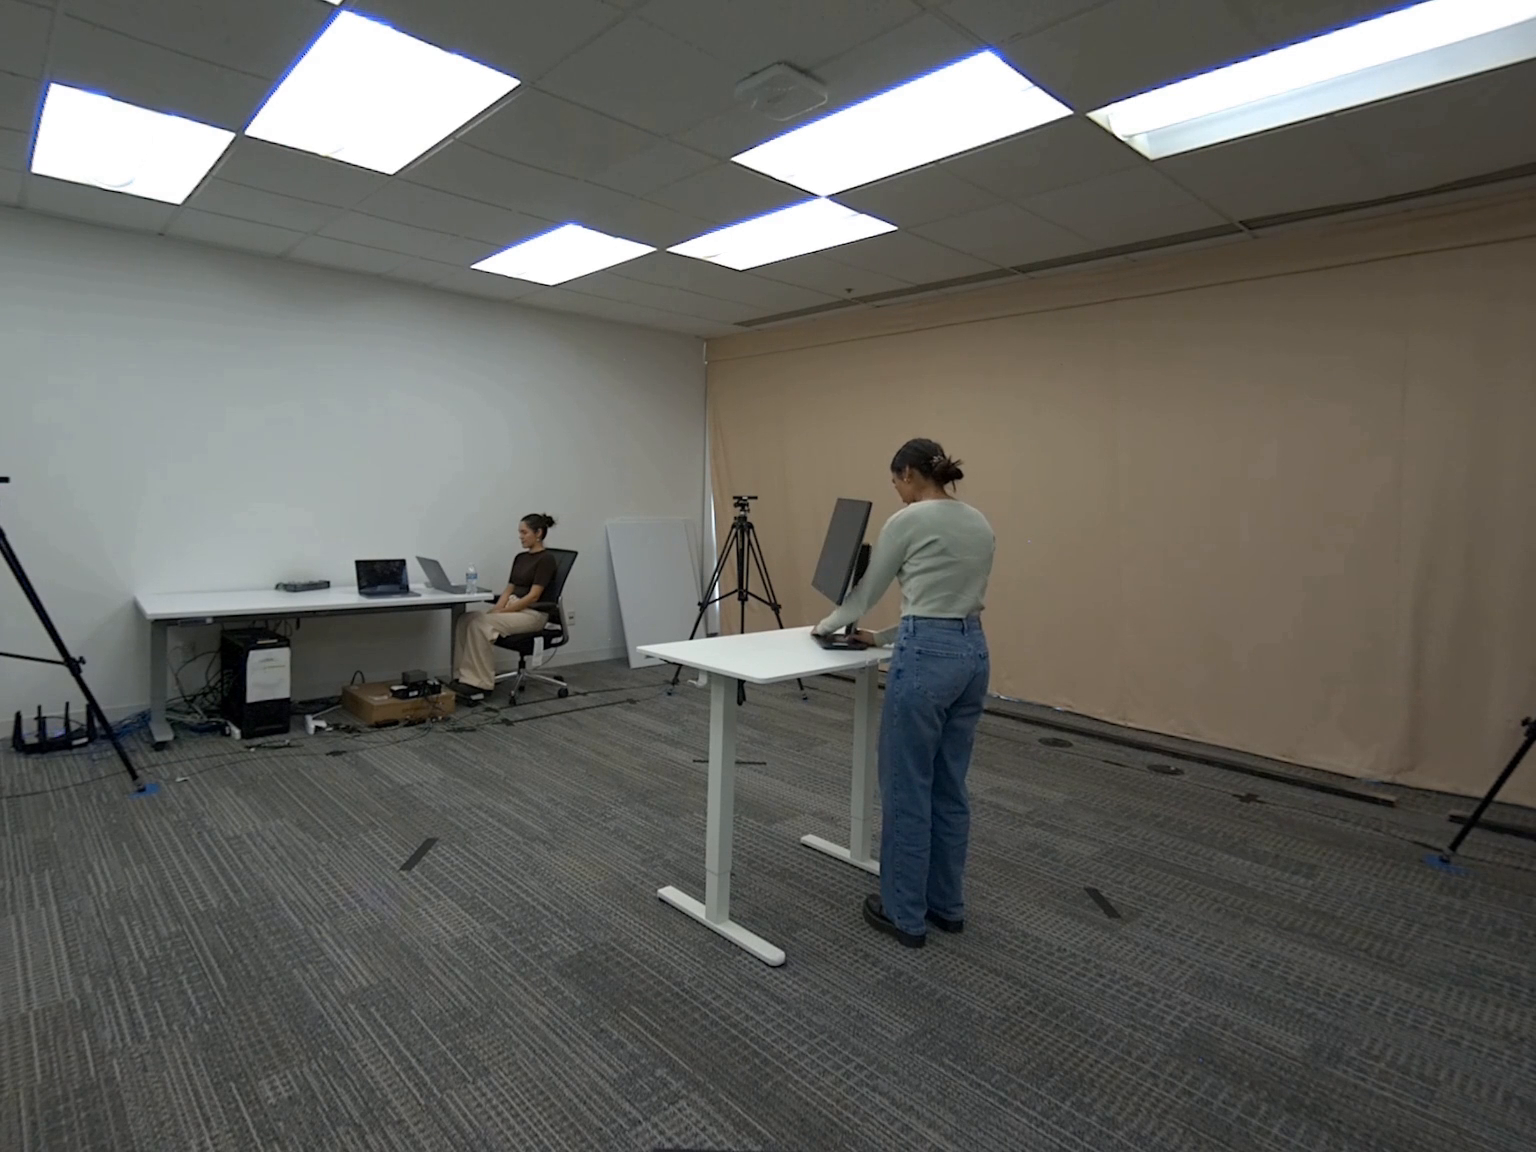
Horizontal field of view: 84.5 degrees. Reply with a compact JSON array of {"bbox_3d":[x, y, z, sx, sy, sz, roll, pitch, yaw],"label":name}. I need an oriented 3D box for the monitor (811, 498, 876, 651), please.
[{"bbox_3d":[0.269,-0.015,2.980,0.174,0.514,0.535,-1,6,-7],"label":"monitor"}]
